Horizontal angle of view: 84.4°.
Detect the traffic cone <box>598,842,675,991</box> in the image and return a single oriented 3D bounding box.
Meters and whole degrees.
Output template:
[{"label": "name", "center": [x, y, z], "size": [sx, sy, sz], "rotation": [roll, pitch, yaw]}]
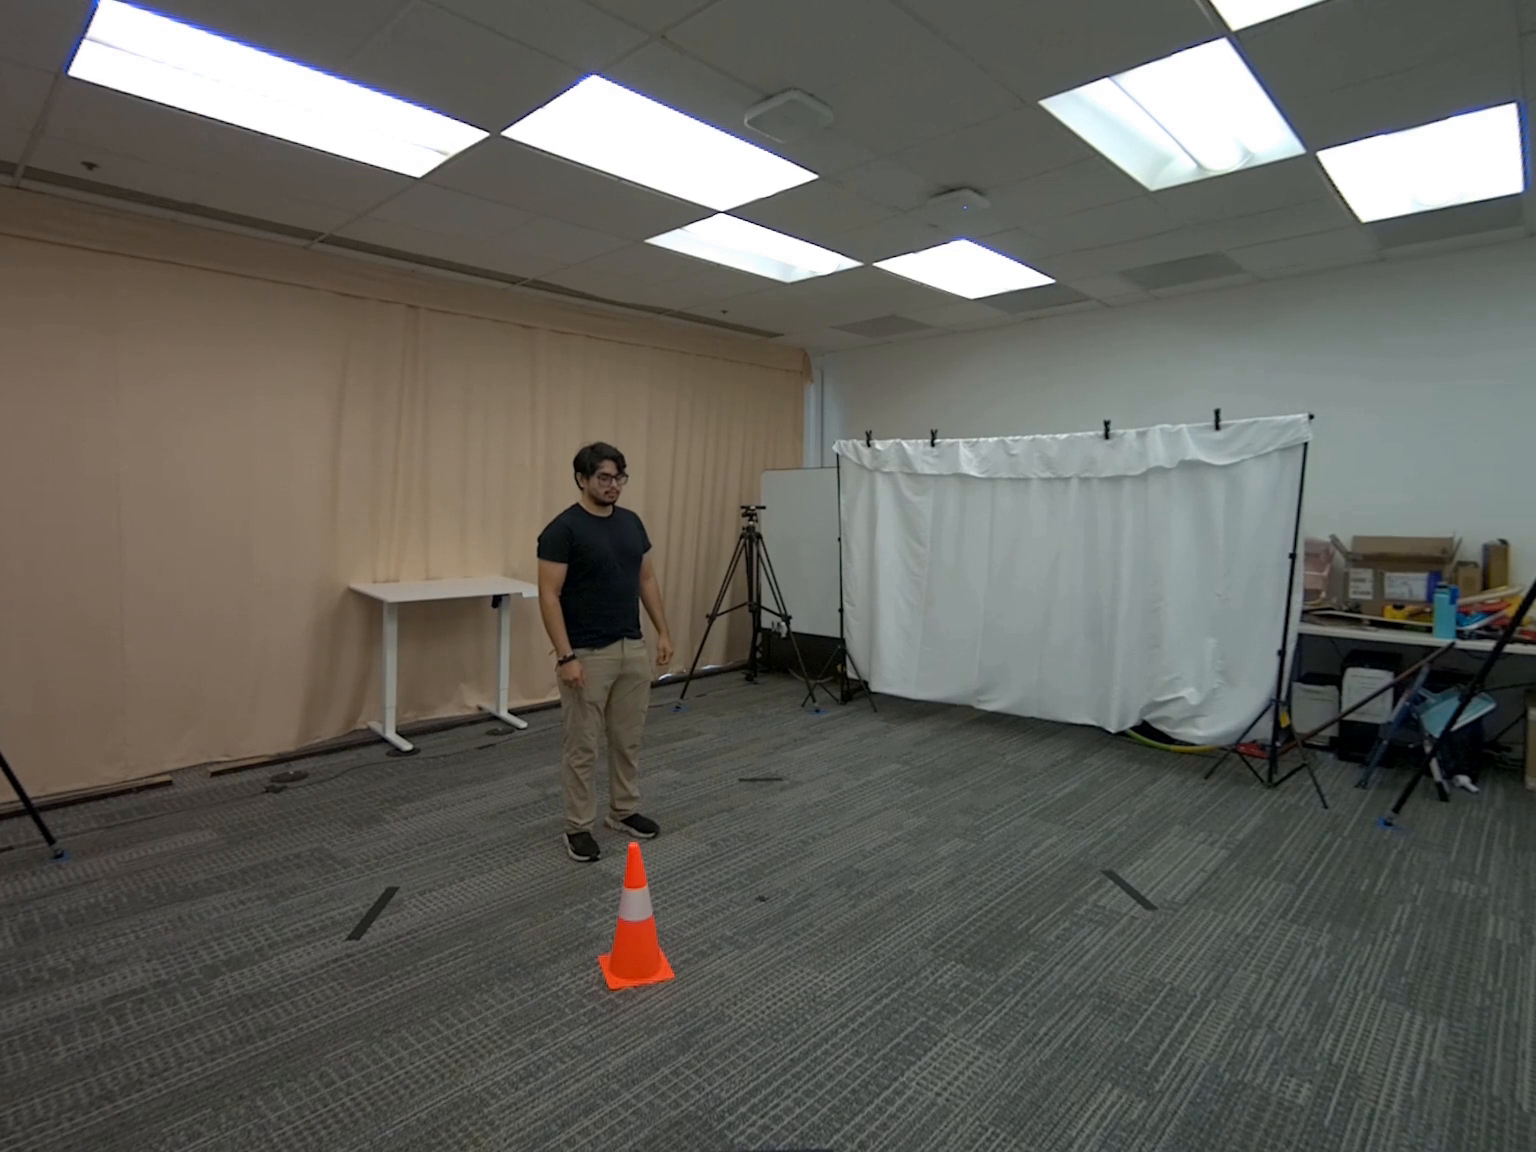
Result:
[{"label": "traffic cone", "center": [-0.391, 0.998, 2.533], "size": [0.201, 0.383, 0.207], "rotation": [1, 4, -18]}]
